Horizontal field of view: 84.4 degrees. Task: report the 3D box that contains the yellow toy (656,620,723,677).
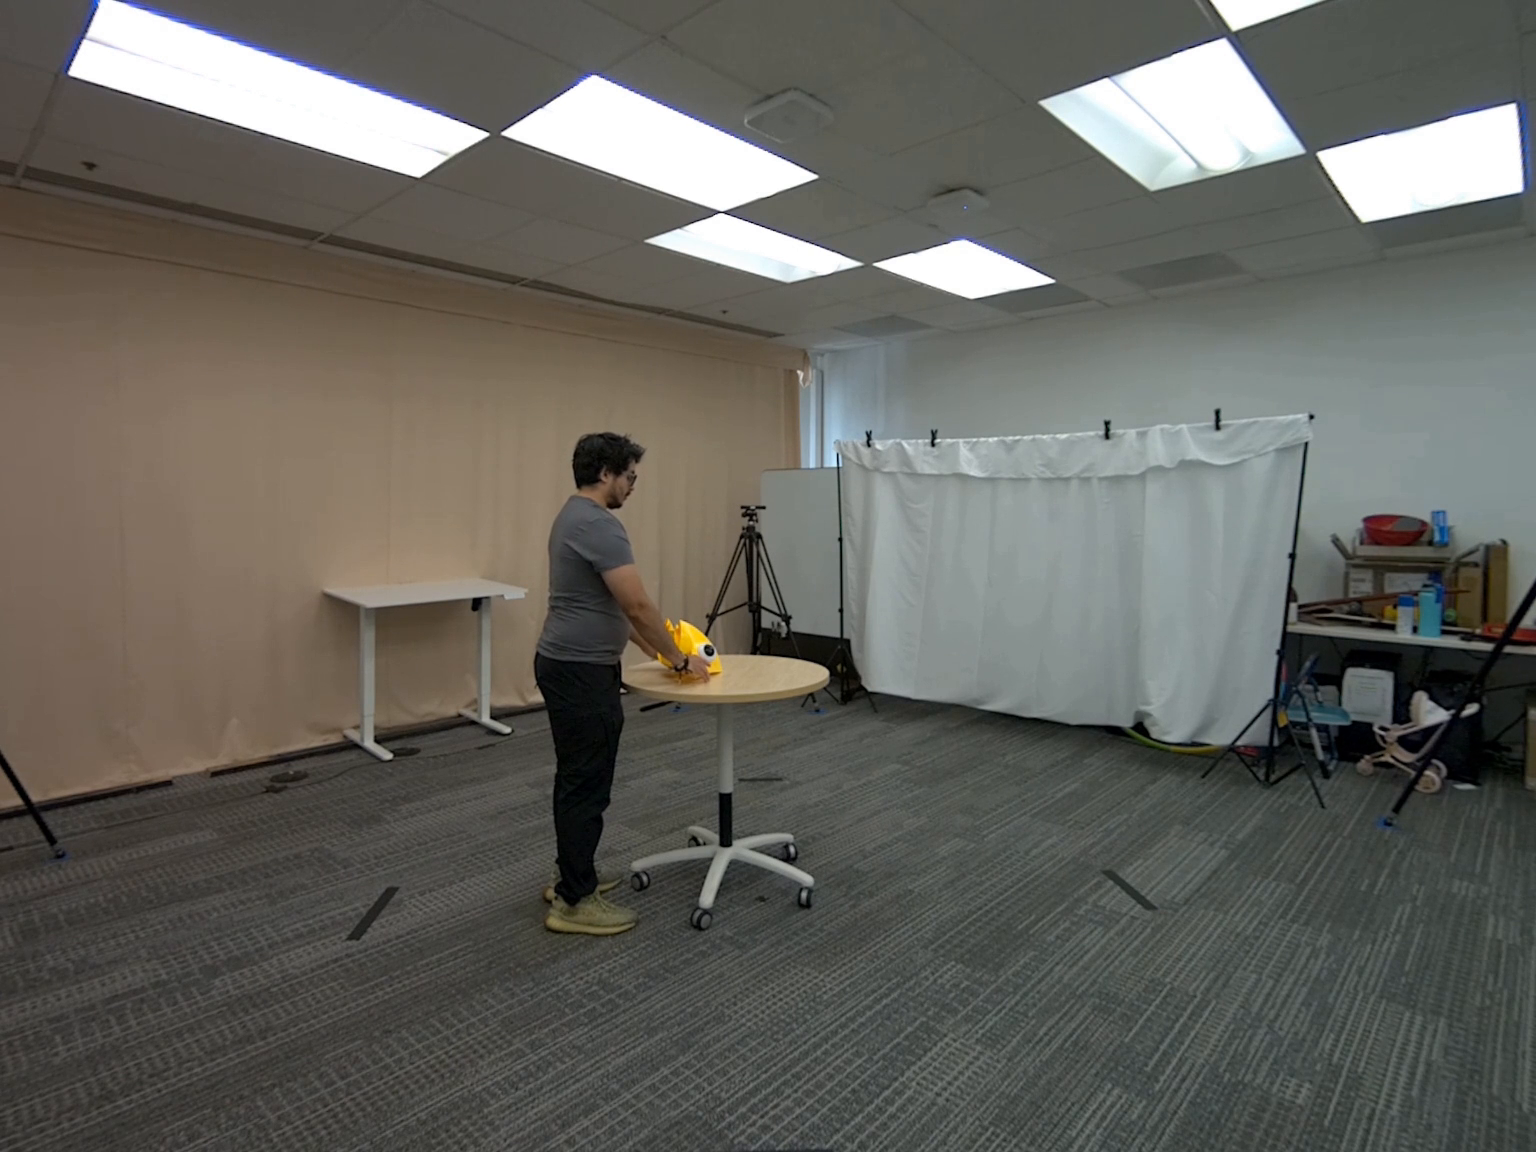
[{"bbox_3d":[-0.256,0.273,3.049,0.225,0.193,0.210,12,-3,-24],"label":"yellow toy"}]
